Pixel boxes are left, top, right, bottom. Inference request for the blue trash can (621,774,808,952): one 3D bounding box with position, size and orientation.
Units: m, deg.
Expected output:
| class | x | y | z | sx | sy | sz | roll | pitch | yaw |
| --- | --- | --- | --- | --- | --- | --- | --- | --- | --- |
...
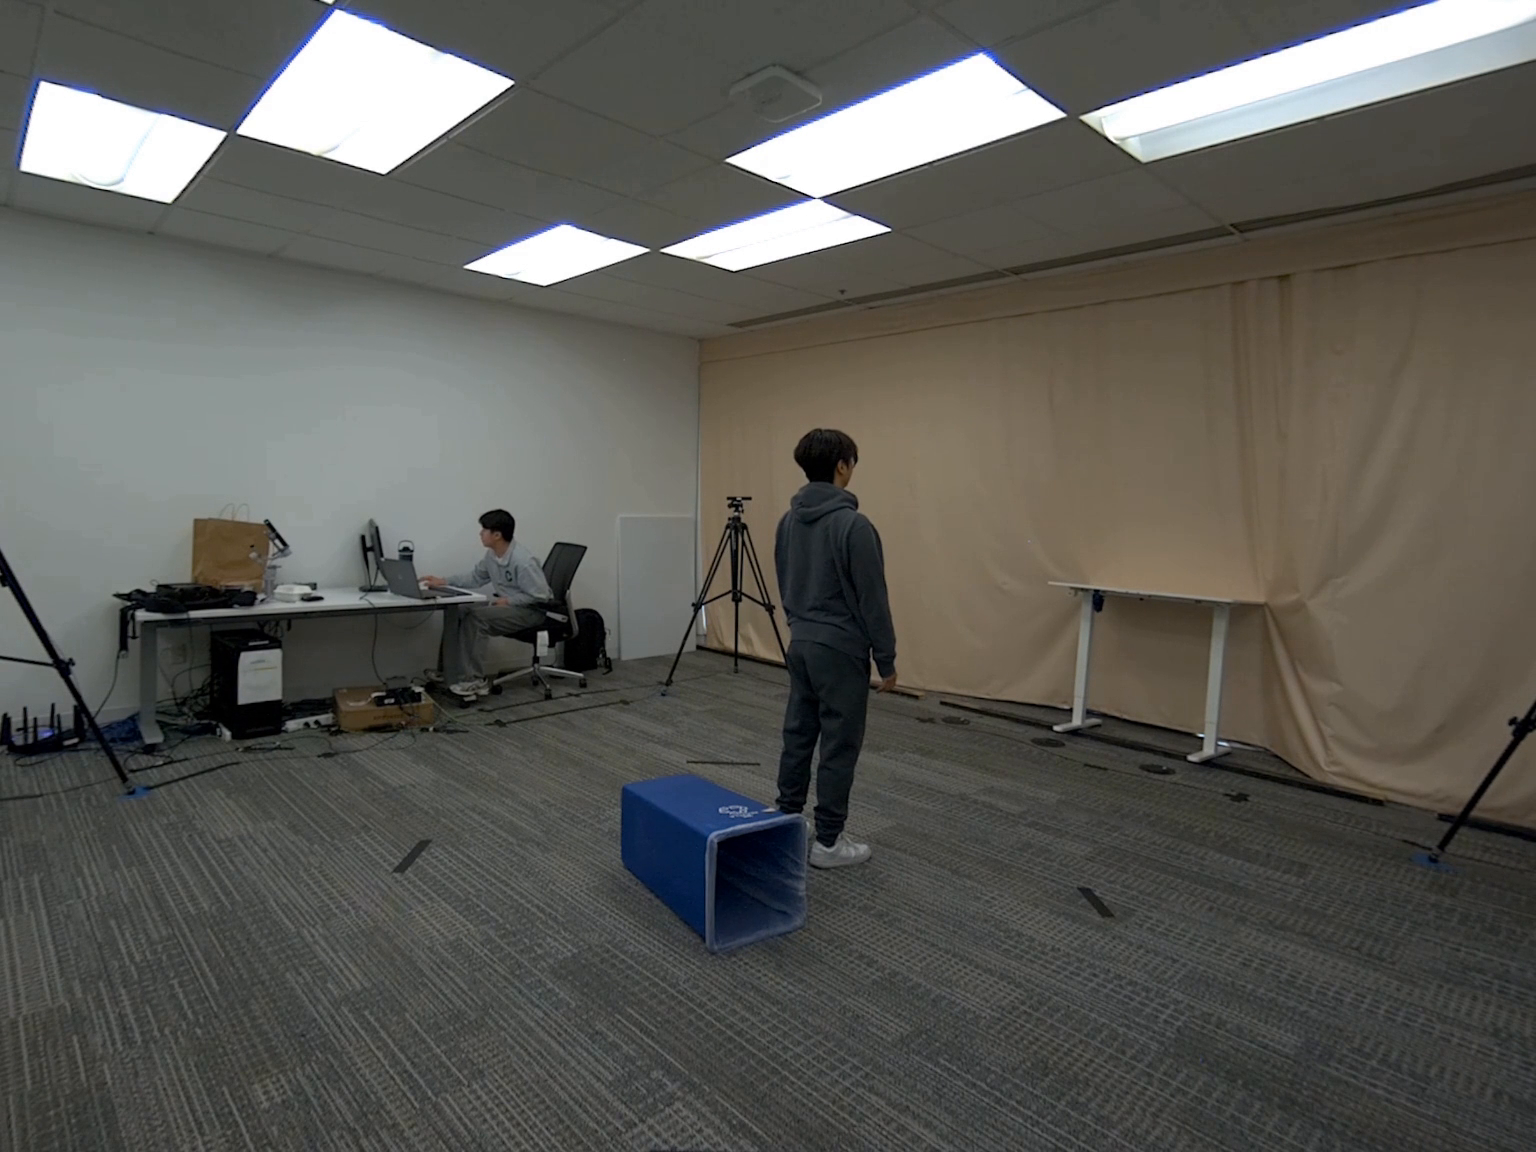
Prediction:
| class | x | y | z | sx | sy | sz | roll | pitch | yaw |
| --- | --- | --- | --- | --- | --- | --- | --- | --- | --- |
| blue trash can | -0.237 | 0.952 | 2.936 | 0.366 | 0.378 | 0.730 | -1 | 2 | -34 |
